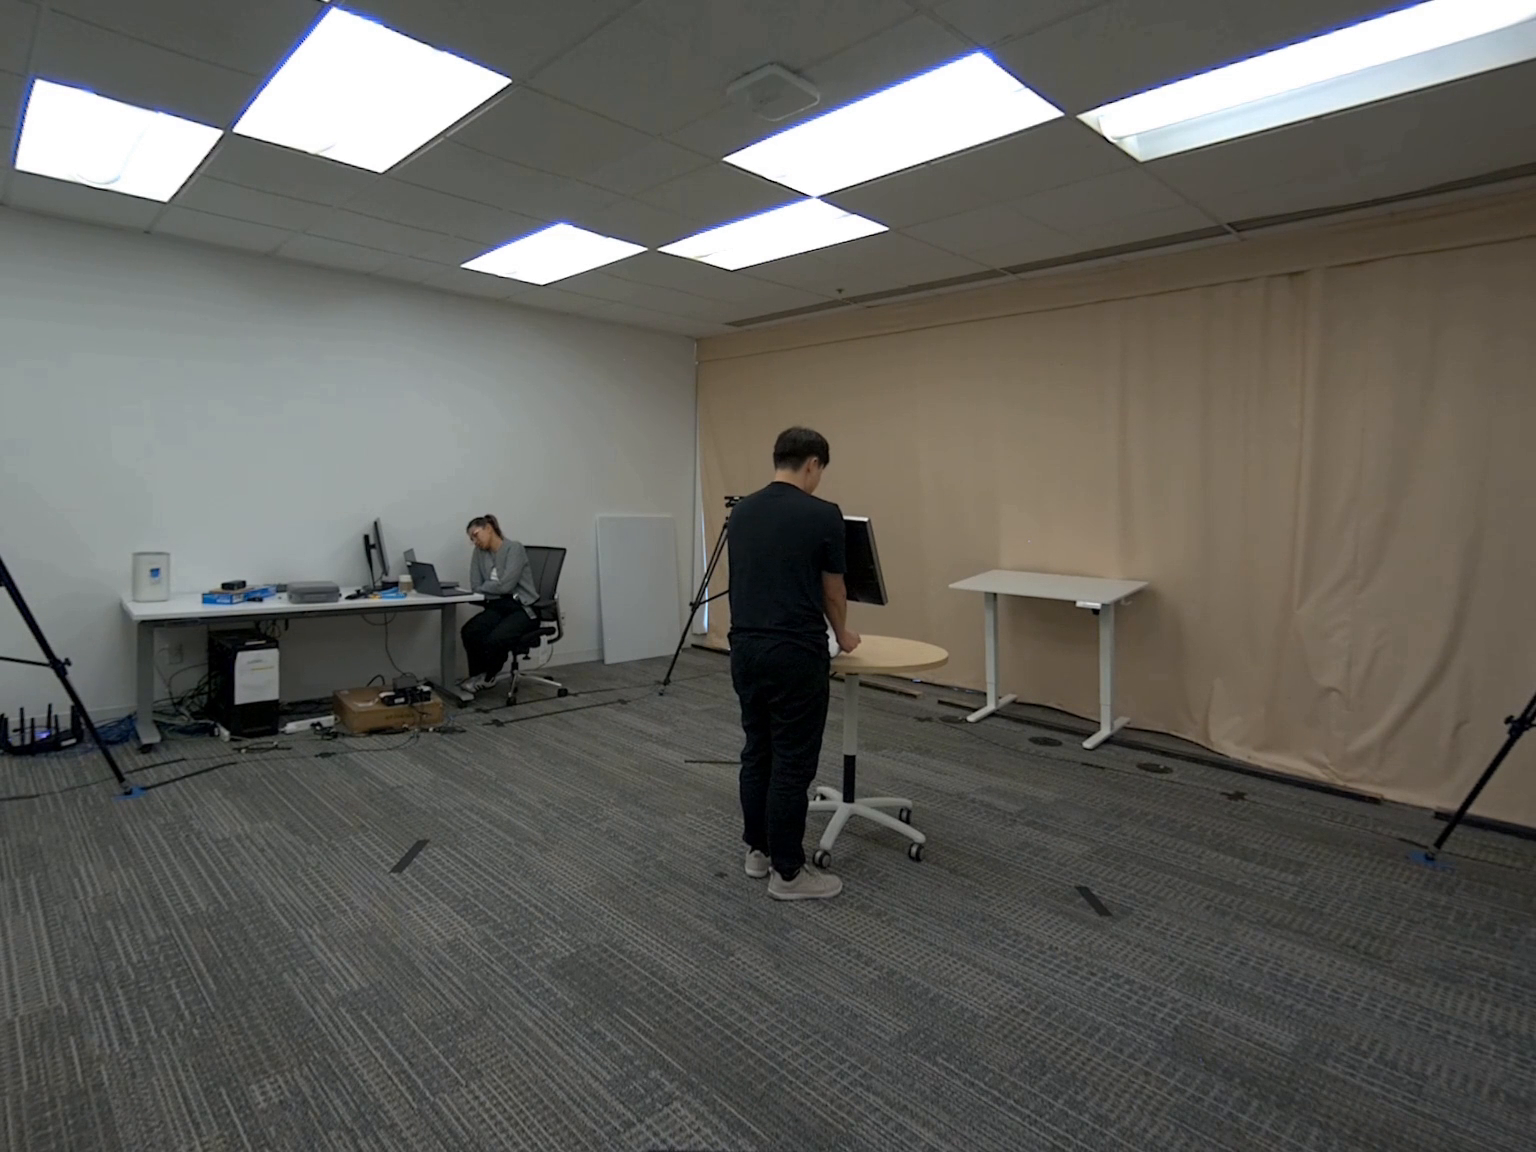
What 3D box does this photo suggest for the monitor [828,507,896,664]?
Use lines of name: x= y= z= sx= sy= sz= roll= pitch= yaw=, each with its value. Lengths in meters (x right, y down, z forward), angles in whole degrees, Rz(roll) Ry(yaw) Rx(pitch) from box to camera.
monitor: x=0.172 y=0.011 z=3.209 sx=0.553 sy=0.514 sz=0.185 roll=7 pitch=24 yaw=38
